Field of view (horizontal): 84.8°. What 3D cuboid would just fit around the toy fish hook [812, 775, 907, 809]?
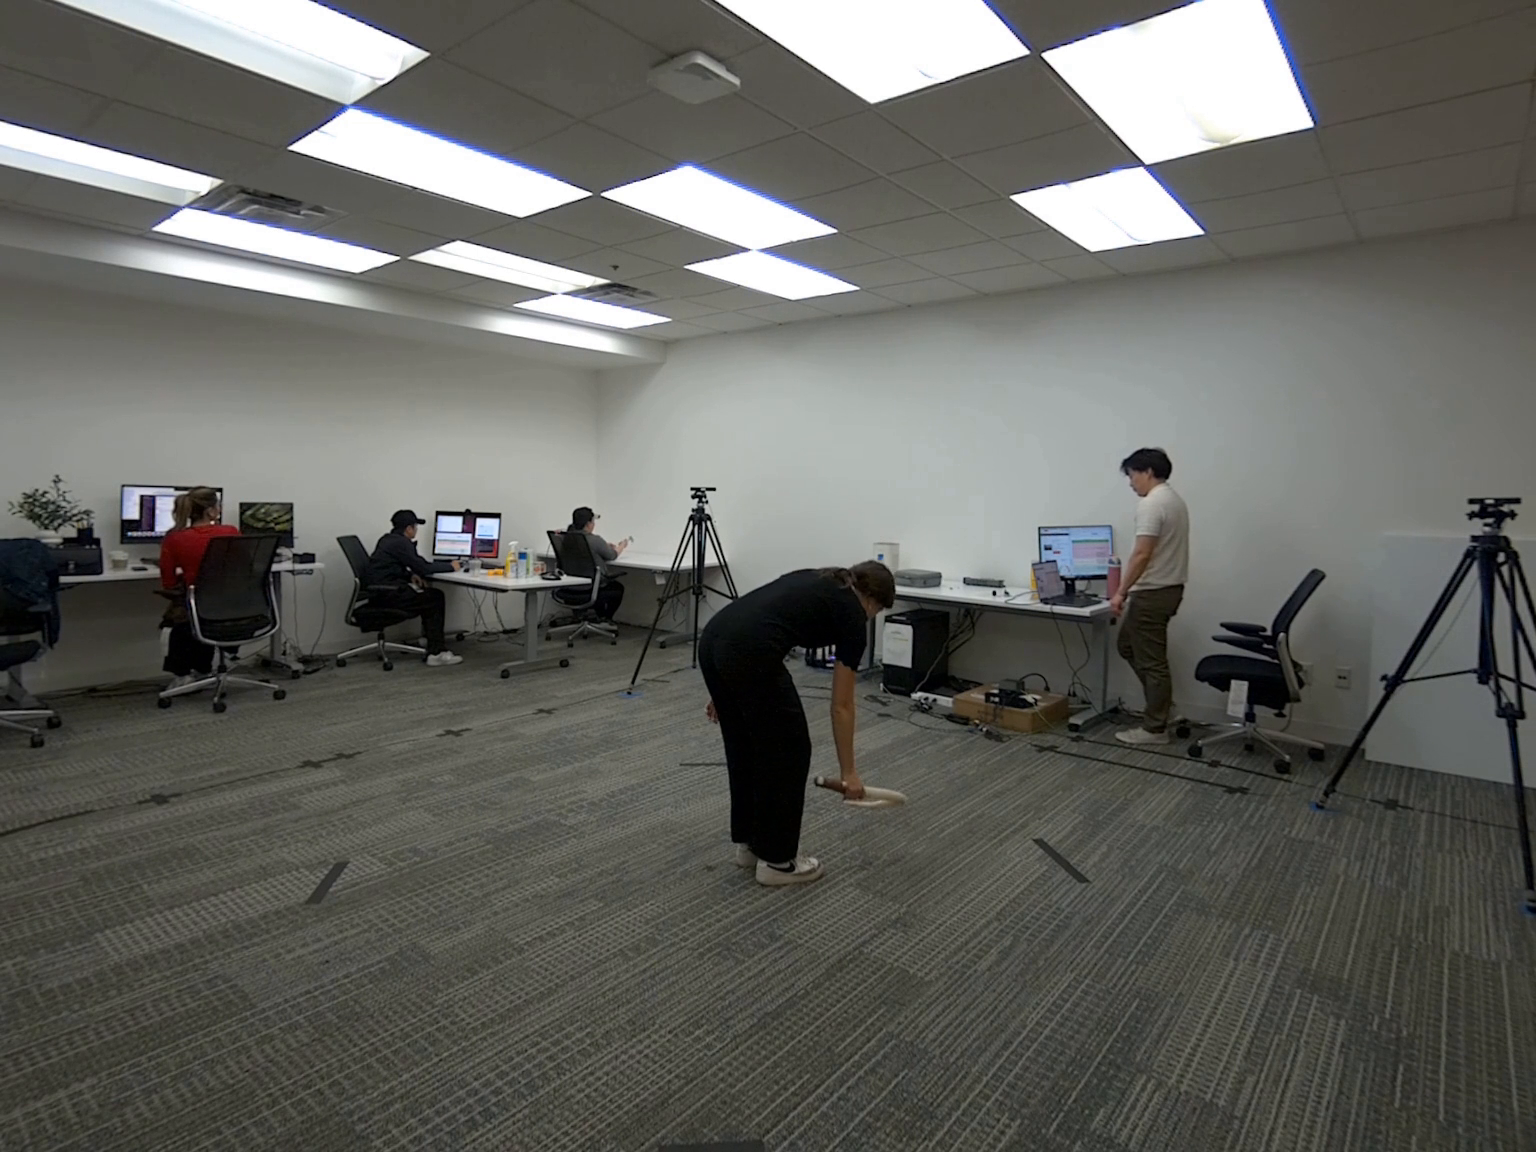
[{"bbox_3d":[0.304,0.803,3.132,0.487,0.049,0.227,24,-40,-37],"label":"toy fish hook"}]
